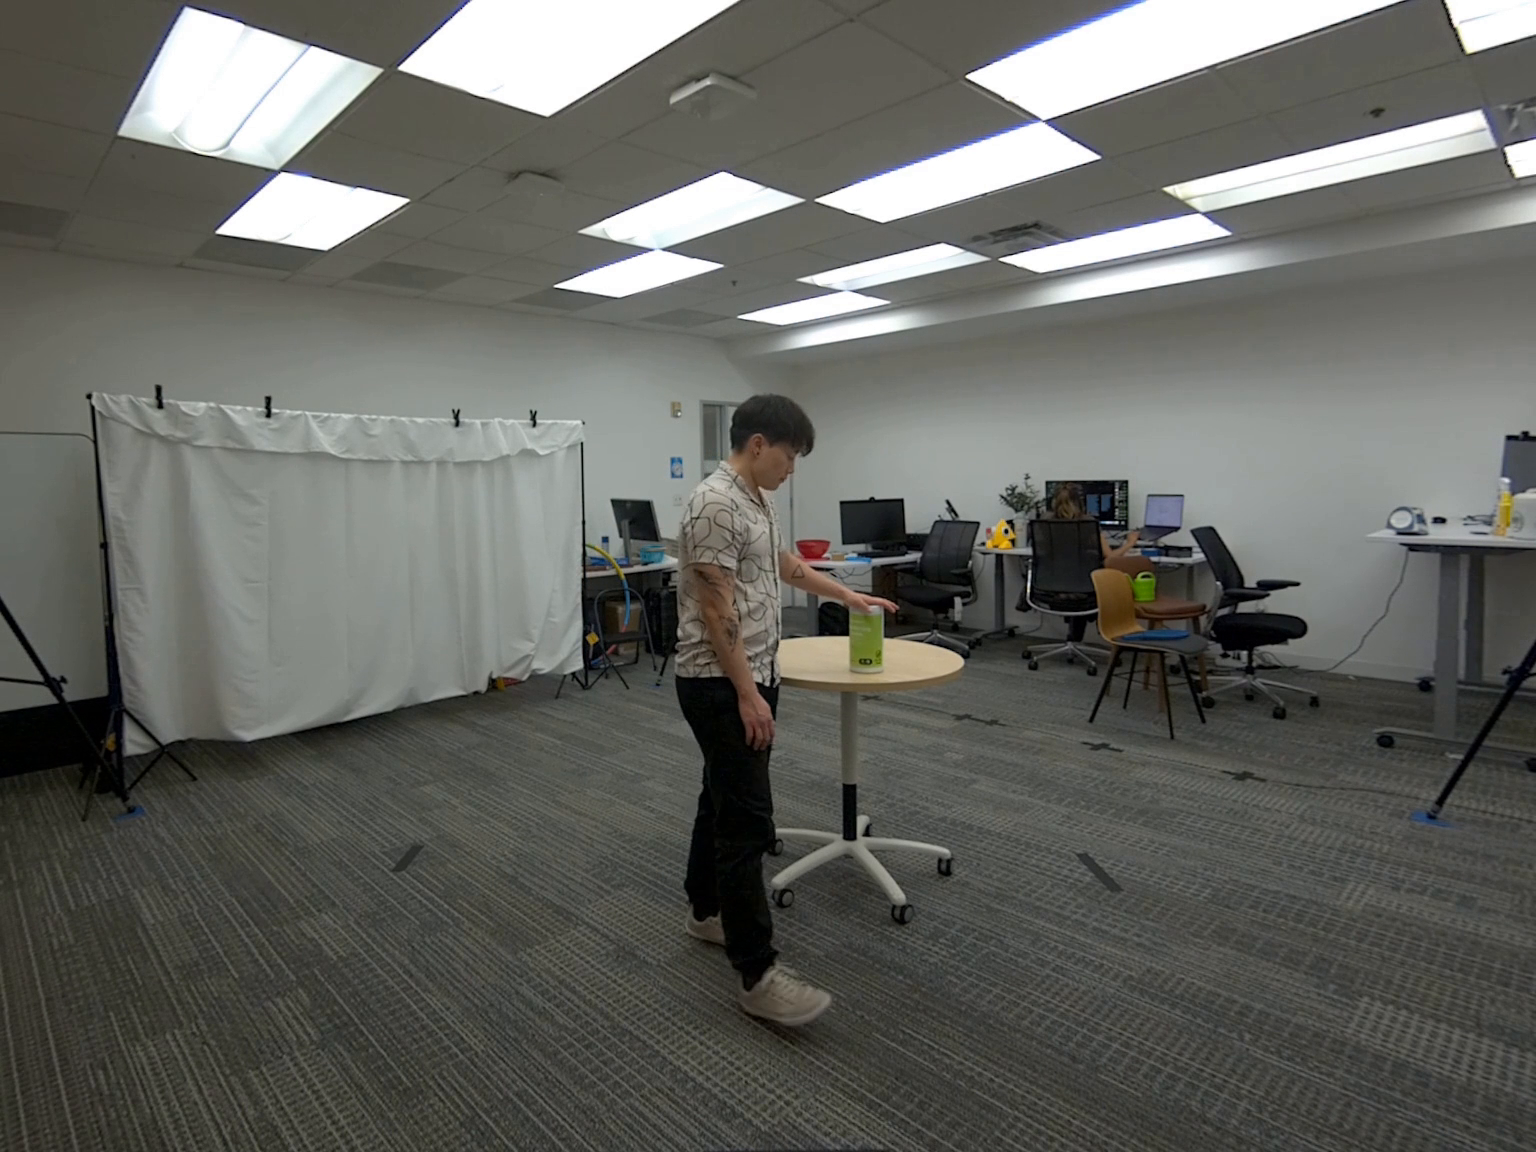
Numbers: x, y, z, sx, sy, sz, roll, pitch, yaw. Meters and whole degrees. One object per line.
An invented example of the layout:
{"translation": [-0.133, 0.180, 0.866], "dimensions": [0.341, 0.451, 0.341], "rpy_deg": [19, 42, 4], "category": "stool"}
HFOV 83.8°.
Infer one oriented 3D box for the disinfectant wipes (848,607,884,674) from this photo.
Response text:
{"translation": [0.317, 0.196, 2.731], "dimensions": [0.118, 0.217, 0.118], "rpy_deg": [-4, 2, -1], "category": "disinfectant wipes"}
